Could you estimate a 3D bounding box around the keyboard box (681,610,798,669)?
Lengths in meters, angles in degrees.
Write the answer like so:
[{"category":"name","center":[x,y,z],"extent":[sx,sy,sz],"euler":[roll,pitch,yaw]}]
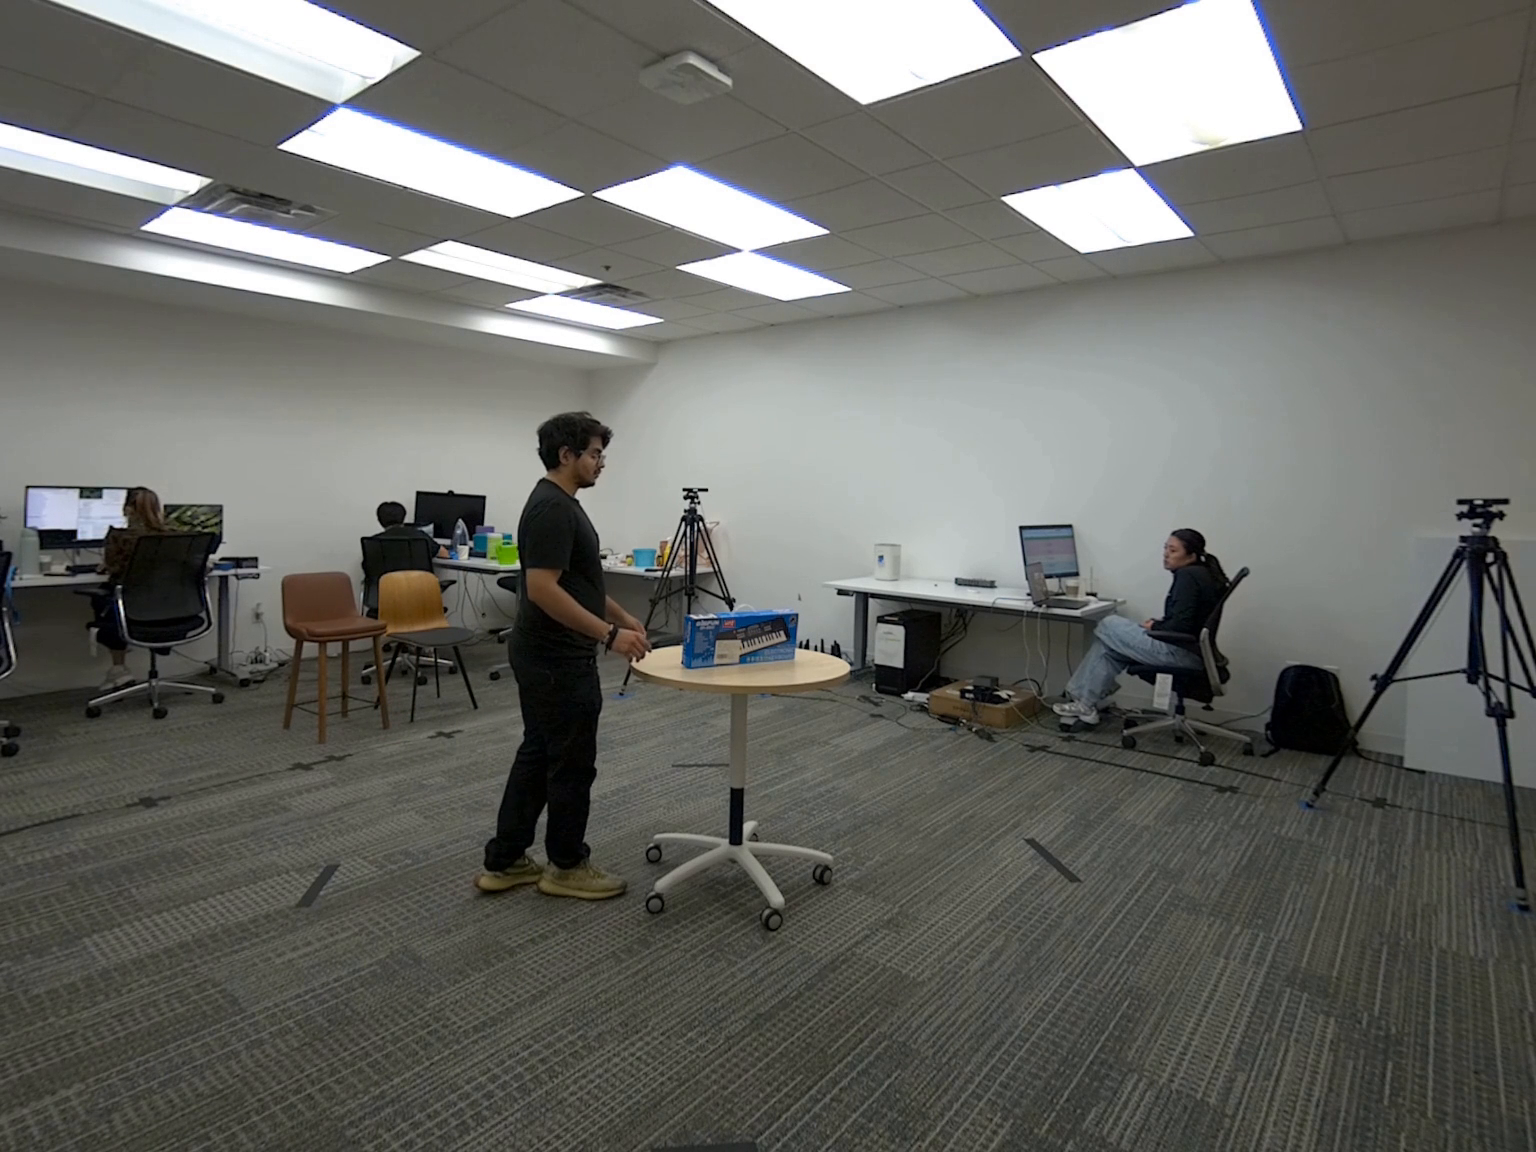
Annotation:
[{"category":"keyboard box","center":[-0.102,0.219,2.953],"extent":[0.425,0.175,0.061],"euler":[-2,9,-31]}]
